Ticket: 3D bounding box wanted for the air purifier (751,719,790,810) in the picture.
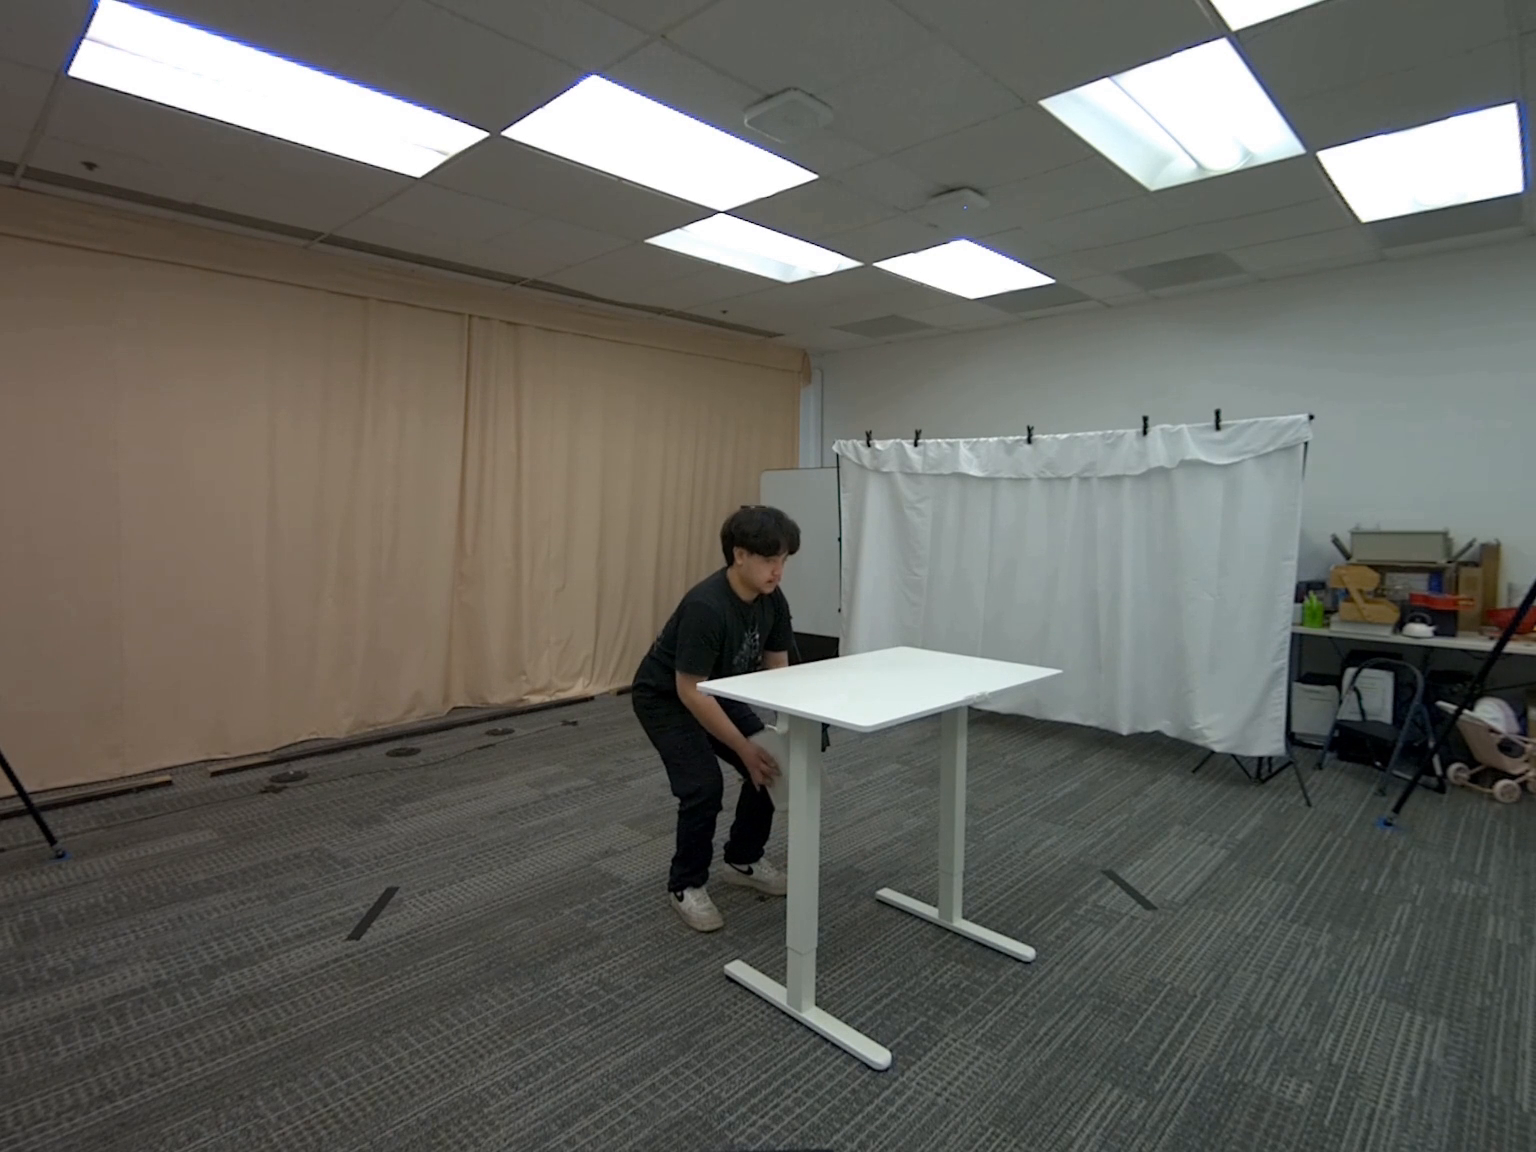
[{"bbox_3d":[0.073,0.625,2.729,0.166,0.268,0.174,-14,-12,-41],"label":"air purifier"}]
